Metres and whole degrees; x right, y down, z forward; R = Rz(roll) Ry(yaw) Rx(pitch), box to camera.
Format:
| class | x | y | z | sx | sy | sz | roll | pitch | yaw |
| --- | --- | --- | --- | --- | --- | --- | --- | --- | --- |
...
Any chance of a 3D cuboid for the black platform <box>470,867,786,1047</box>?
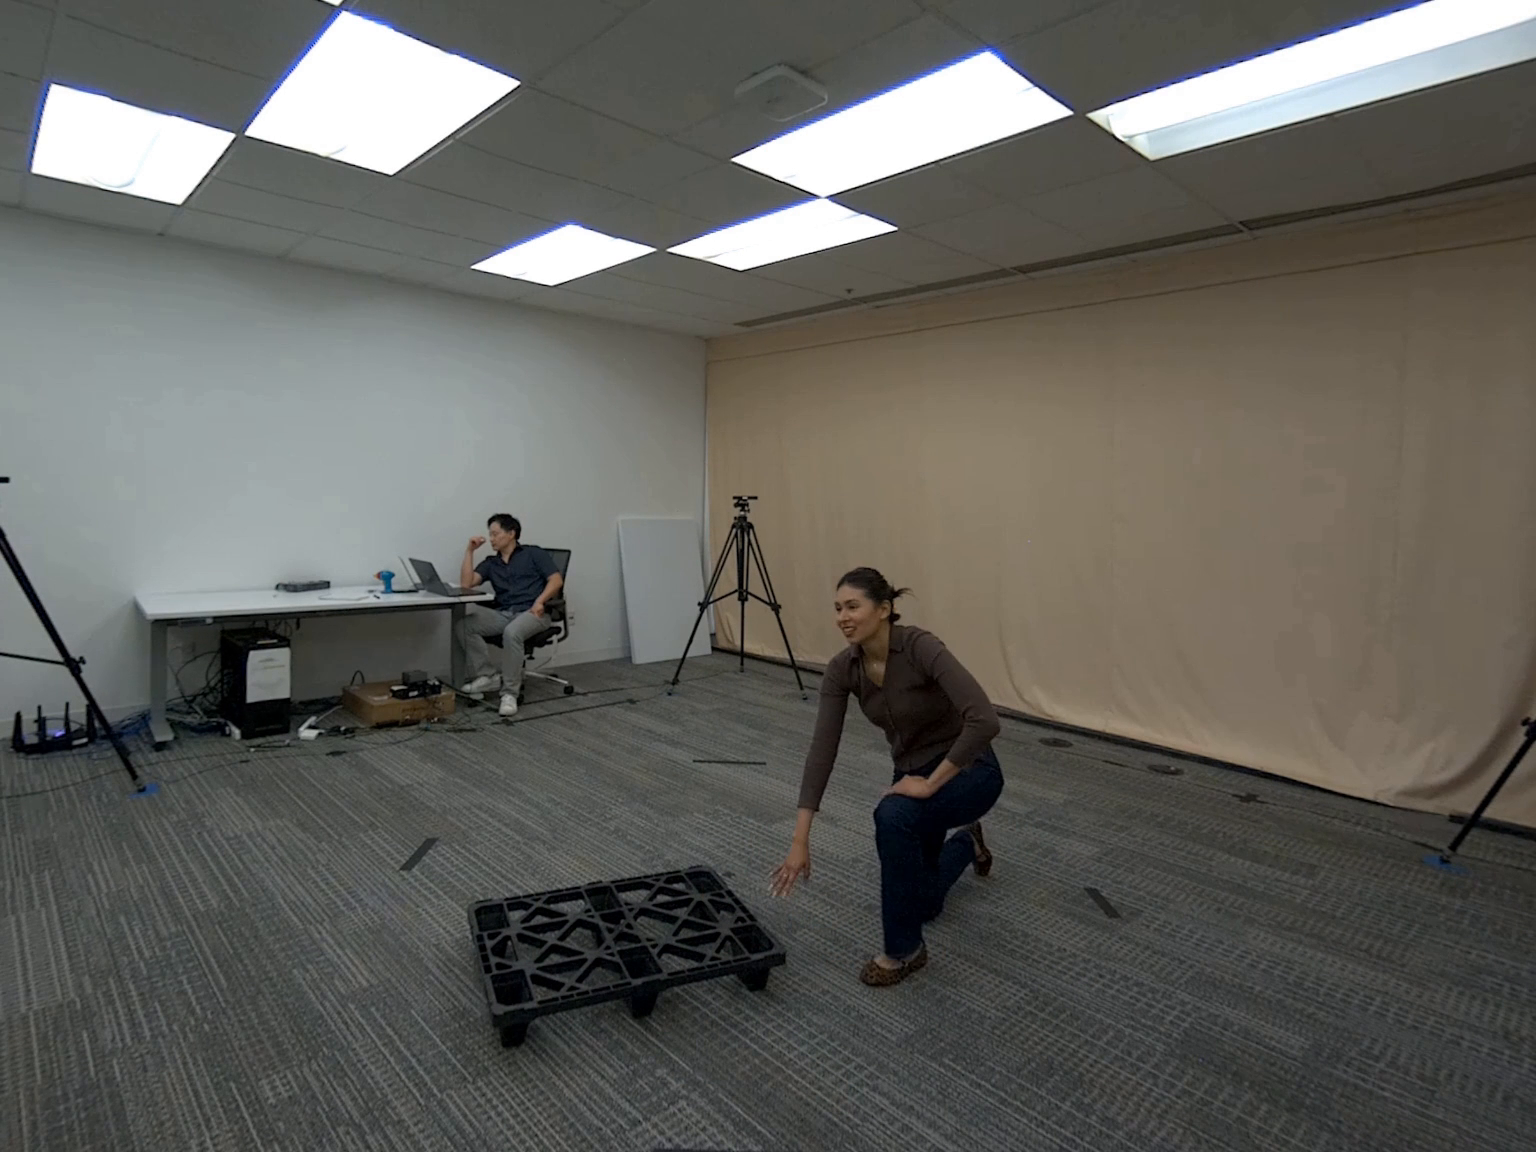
| class | x | y | z | sx | sy | sz | roll | pitch | yaw |
| --- | --- | --- | --- | --- | --- | --- | --- | --- | --- |
| black platform | -0.431 | 1.088 | 2.452 | 0.792 | 0.143 | 0.618 | -1 | 7 | -24 |
